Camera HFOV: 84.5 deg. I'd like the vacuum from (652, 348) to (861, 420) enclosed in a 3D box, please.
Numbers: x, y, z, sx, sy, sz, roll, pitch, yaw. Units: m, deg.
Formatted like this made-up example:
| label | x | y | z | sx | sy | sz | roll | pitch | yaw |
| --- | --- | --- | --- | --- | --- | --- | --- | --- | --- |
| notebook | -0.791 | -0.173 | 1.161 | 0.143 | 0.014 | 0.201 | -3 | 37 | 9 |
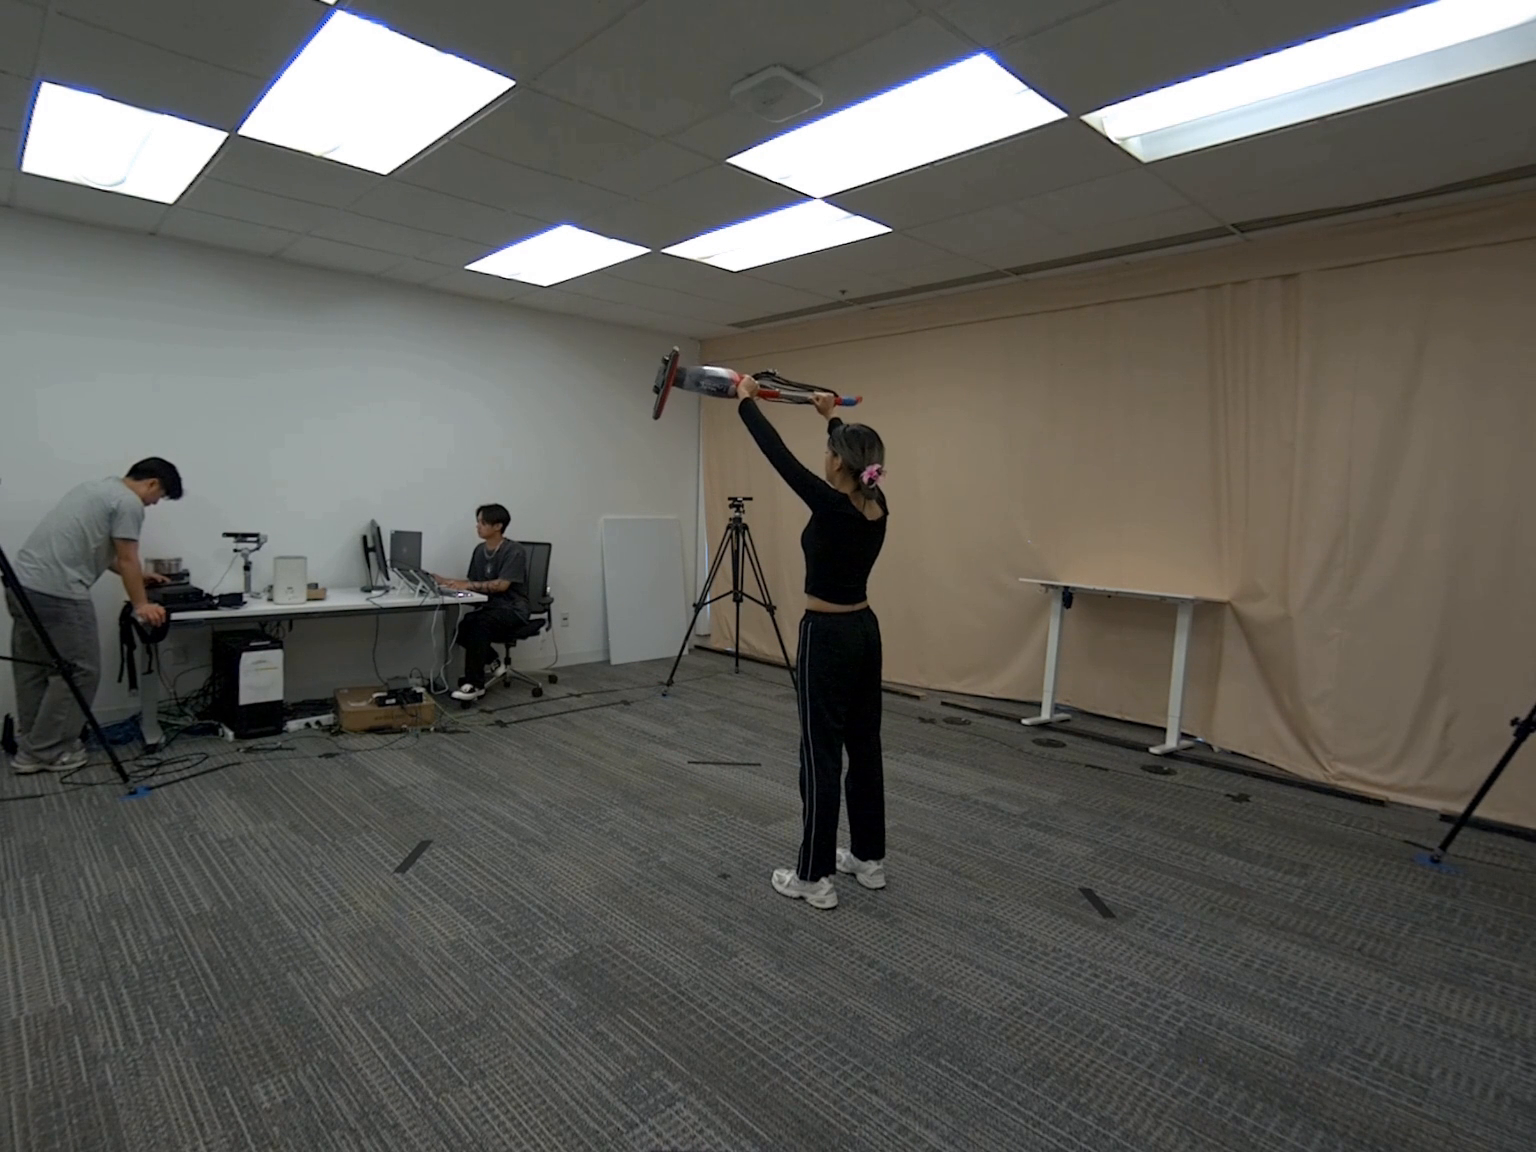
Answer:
| label | x | y | z | sx | sy | sz | roll | pitch | yaw |
| --- | --- | --- | --- | --- | --- | --- | --- | --- | --- |
| vacuum | 0.001 | -0.708 | 3.219 | 1.027 | 0.250 | 0.148 | -7 | 38 | -43 |
